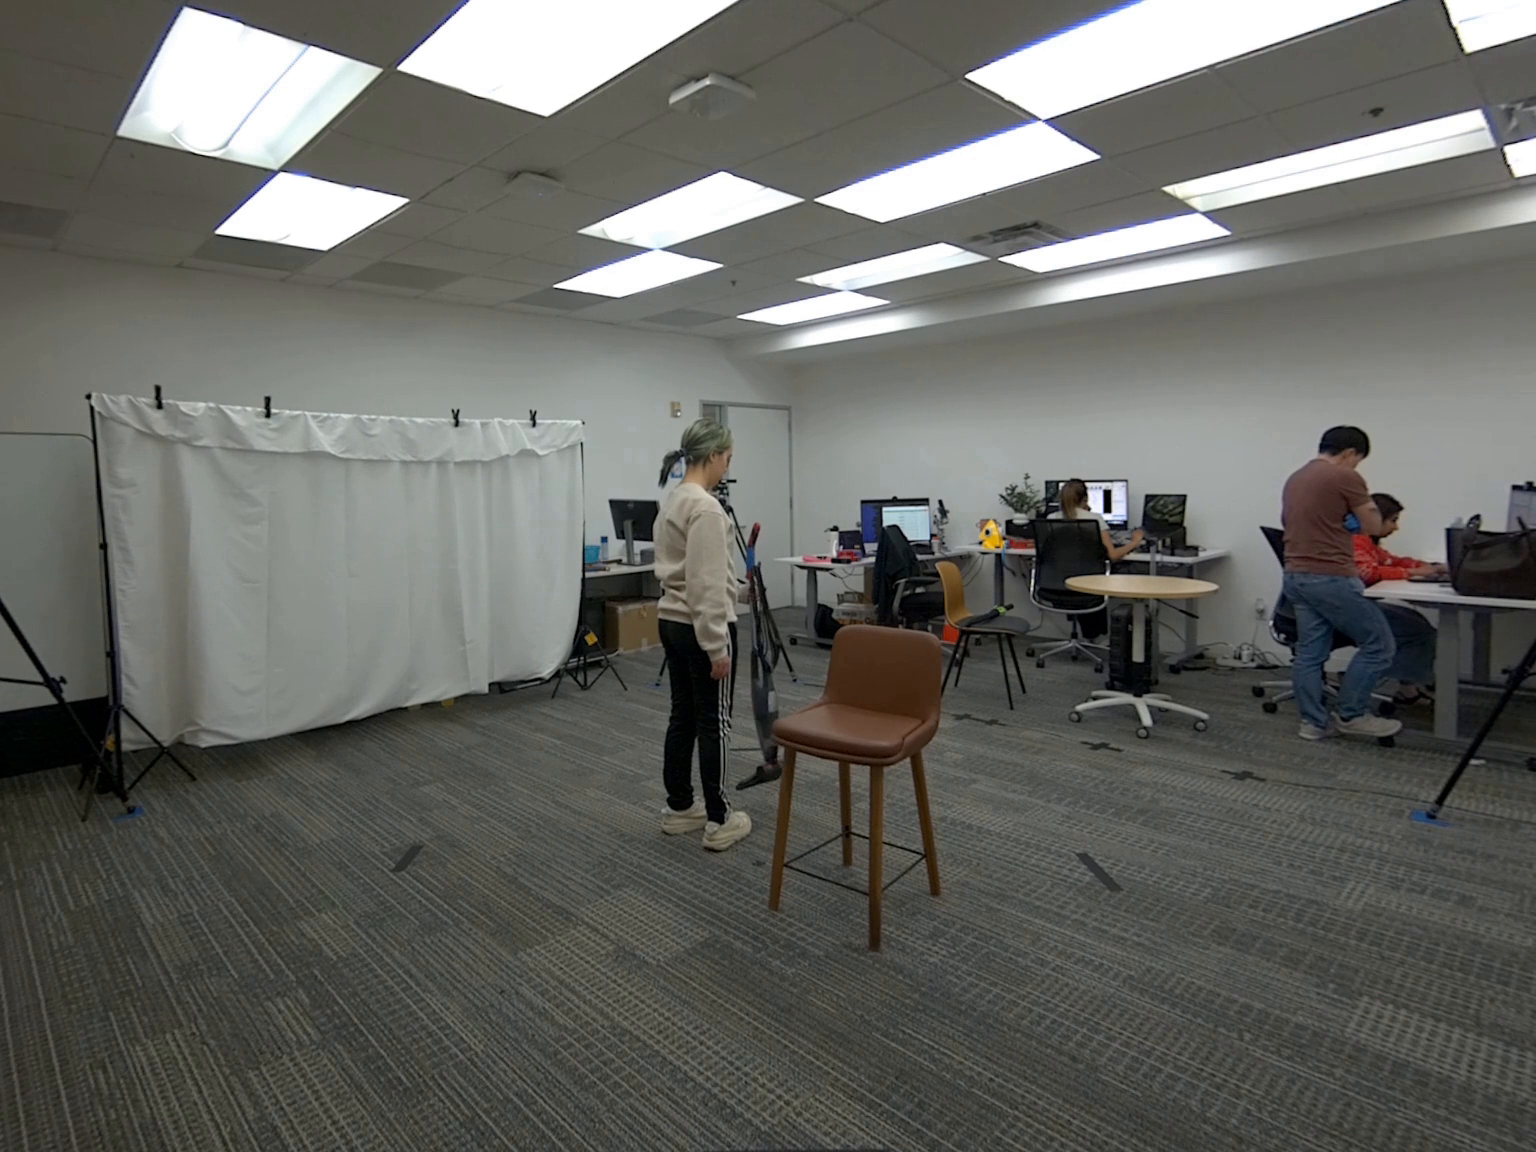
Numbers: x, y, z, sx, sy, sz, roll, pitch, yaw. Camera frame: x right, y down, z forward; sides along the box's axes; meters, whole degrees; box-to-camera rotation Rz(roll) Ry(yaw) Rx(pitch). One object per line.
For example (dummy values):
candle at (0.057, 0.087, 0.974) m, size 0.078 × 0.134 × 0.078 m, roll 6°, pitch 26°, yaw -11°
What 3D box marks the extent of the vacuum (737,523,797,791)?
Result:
vacuum at (-0.025, 0.332, 3.578) m, size 0.148 × 1.050 × 0.245 m, roll -1°, pitch -1°, yaw 42°
